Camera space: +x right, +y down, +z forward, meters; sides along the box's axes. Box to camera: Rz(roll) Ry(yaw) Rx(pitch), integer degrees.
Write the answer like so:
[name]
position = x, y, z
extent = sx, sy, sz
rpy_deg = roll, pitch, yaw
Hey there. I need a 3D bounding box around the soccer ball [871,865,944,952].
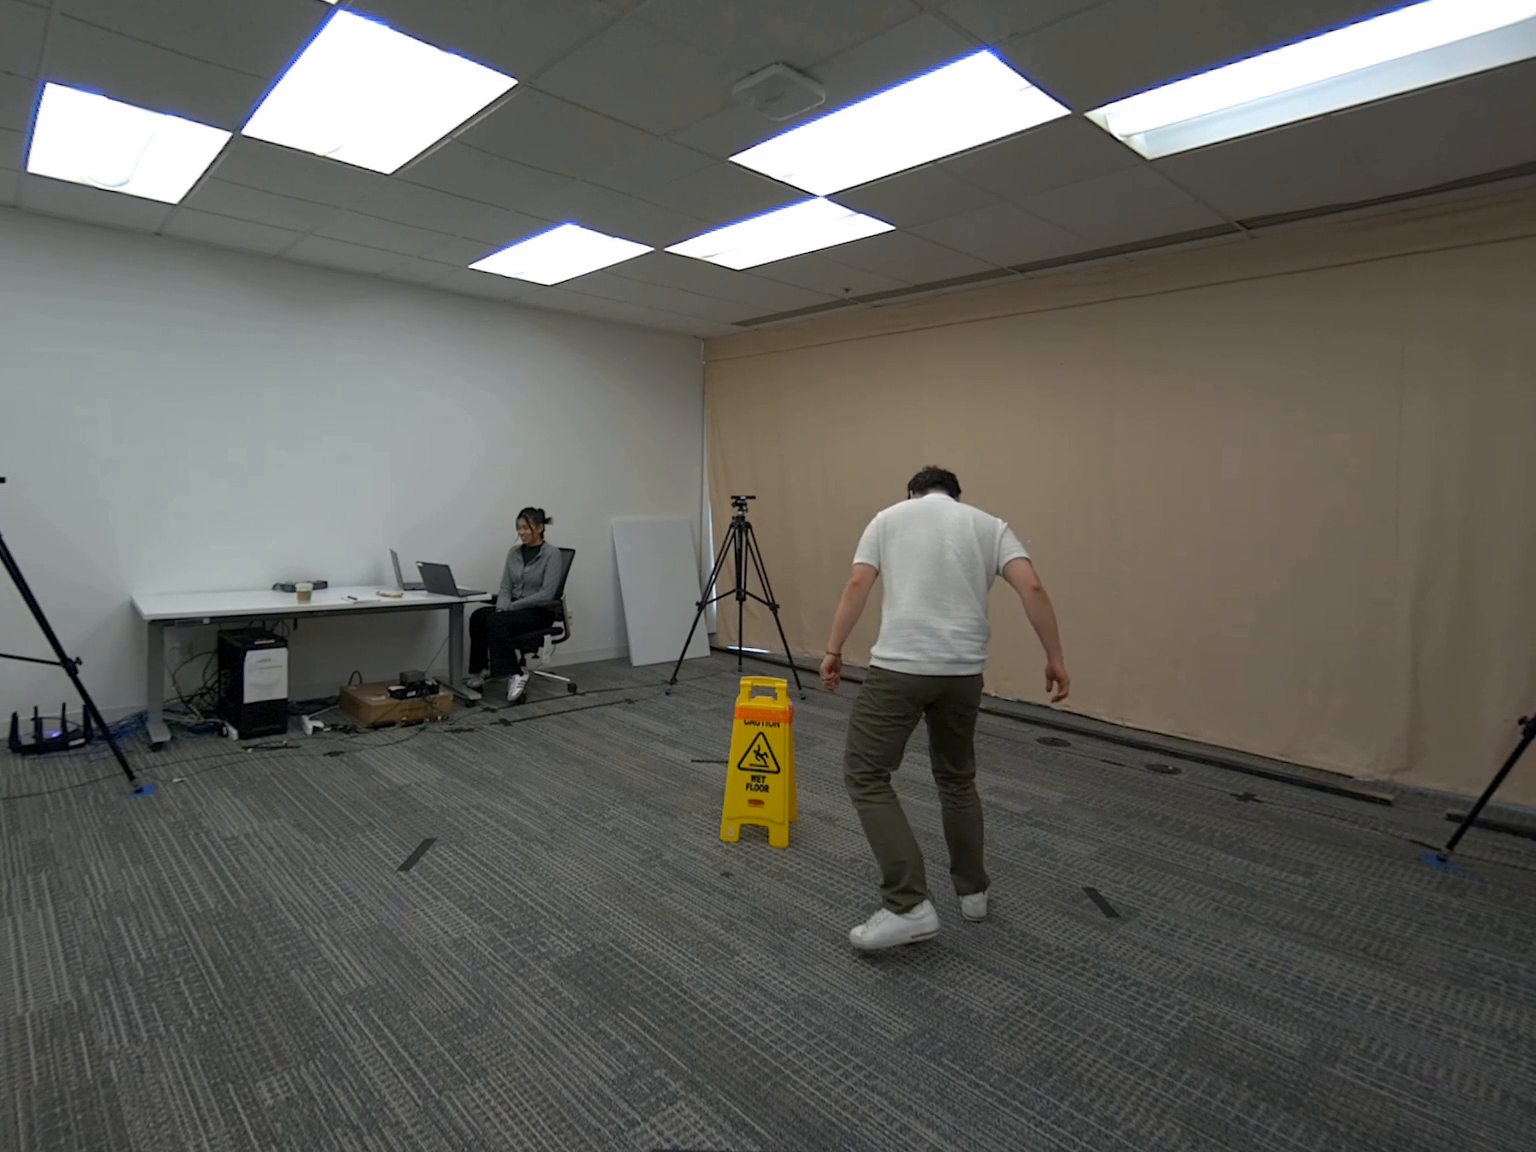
[soccer ball]
position = 0.443, 1.064, 2.721
extent = 0.187, 0.187, 0.188
rpy_deg = 1, 4, -1
